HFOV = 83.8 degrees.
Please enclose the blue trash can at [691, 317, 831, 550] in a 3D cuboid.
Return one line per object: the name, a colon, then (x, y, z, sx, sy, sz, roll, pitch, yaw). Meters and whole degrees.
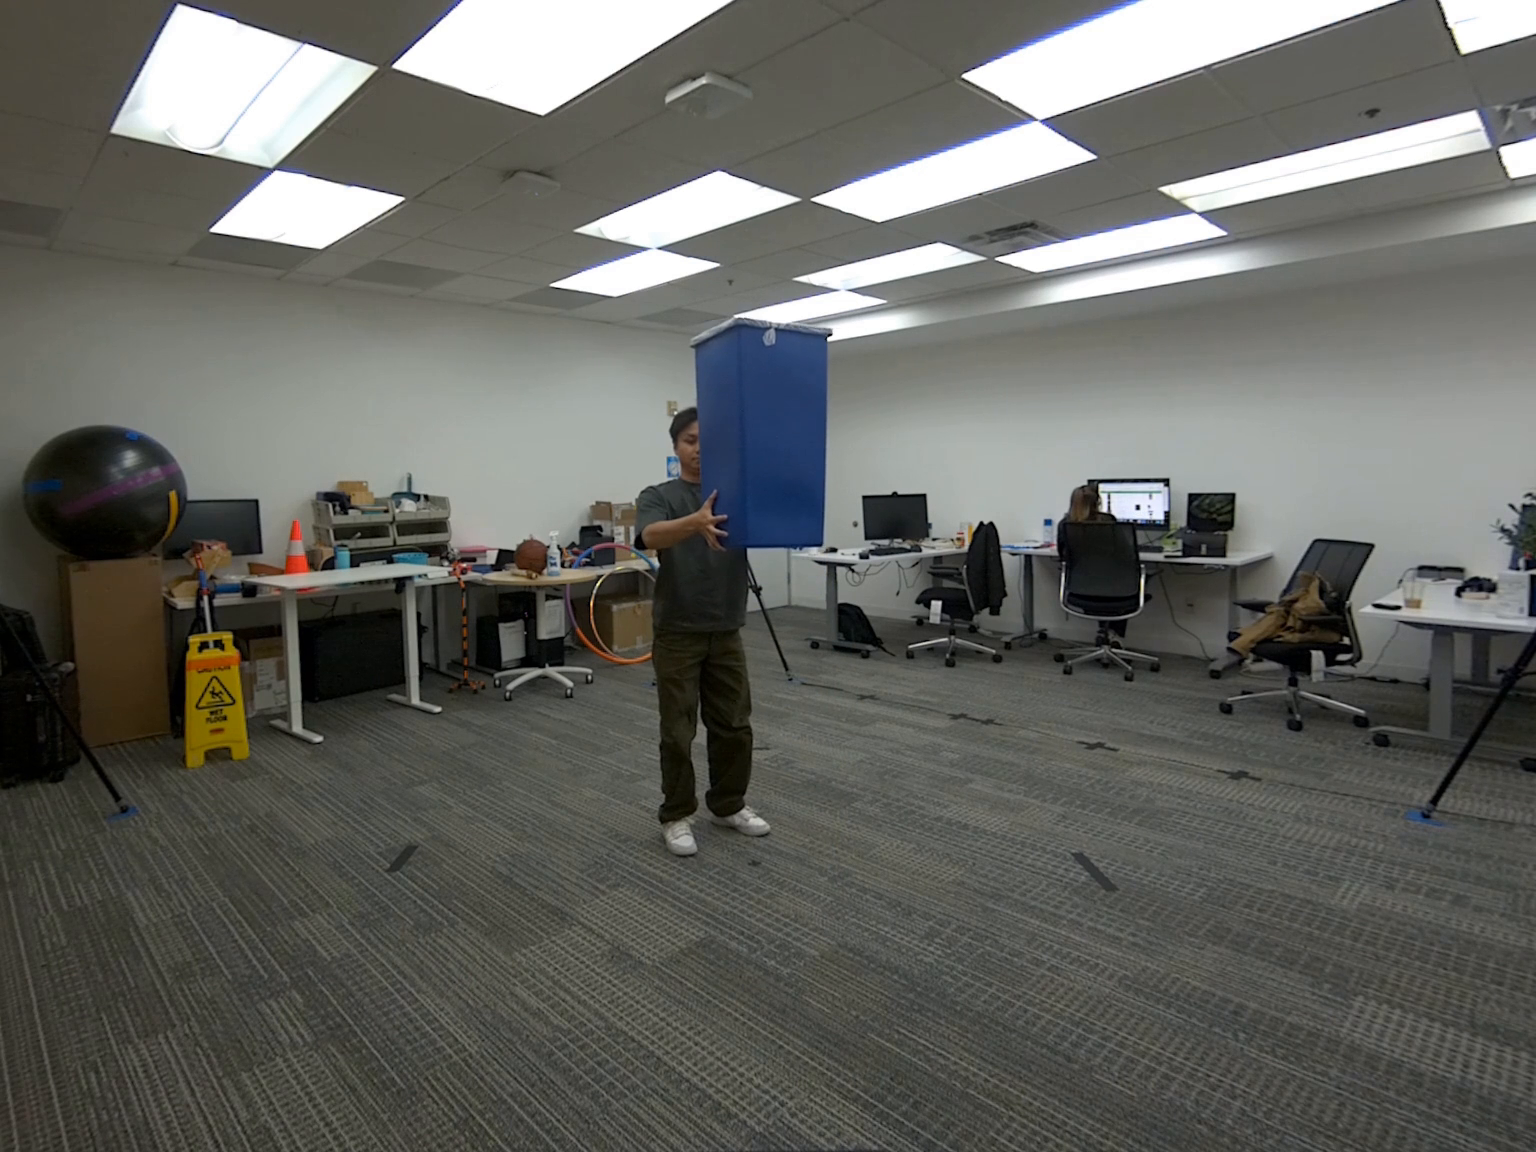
blue trash can: (-0.013, -0.458, 2.859, 0.365, 0.714, 0.387, -1, -1, -30)
